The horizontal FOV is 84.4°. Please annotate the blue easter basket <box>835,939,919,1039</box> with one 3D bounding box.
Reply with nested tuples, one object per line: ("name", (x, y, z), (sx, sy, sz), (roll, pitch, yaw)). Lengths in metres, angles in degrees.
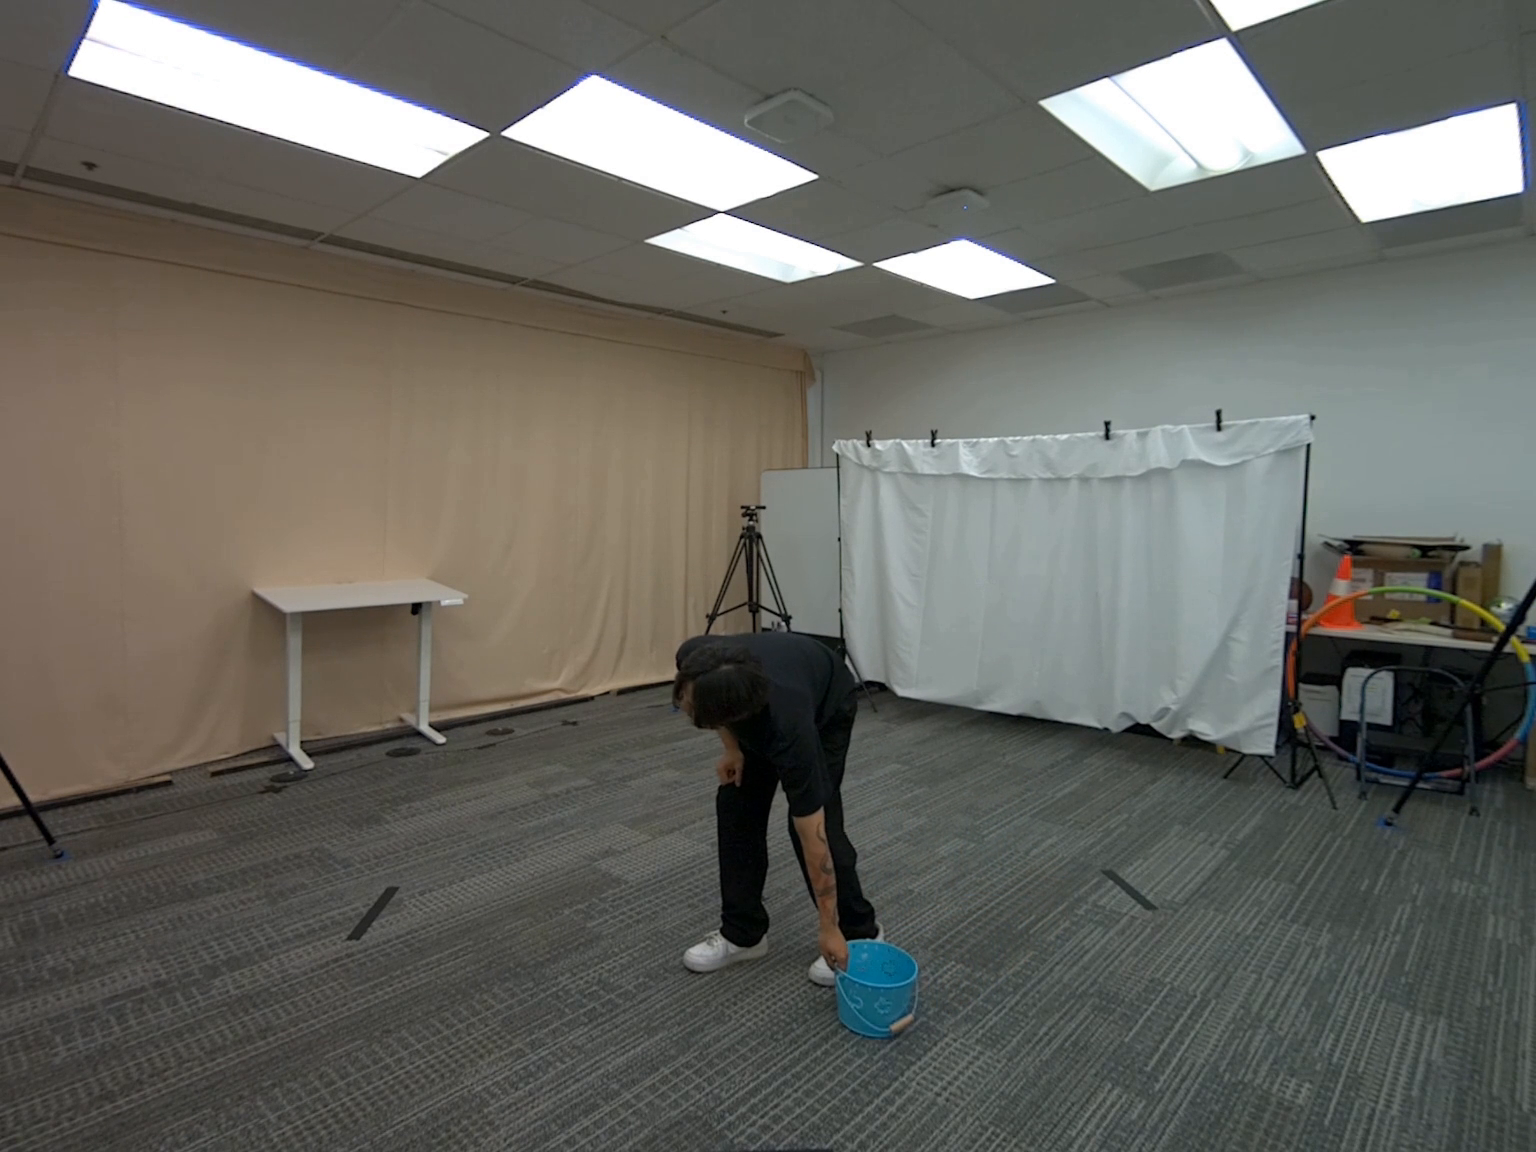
("blue easter basket", (0.283, 1.116, 2.294), (0.243, 0.155, 0.244), (1, 3, -2))
